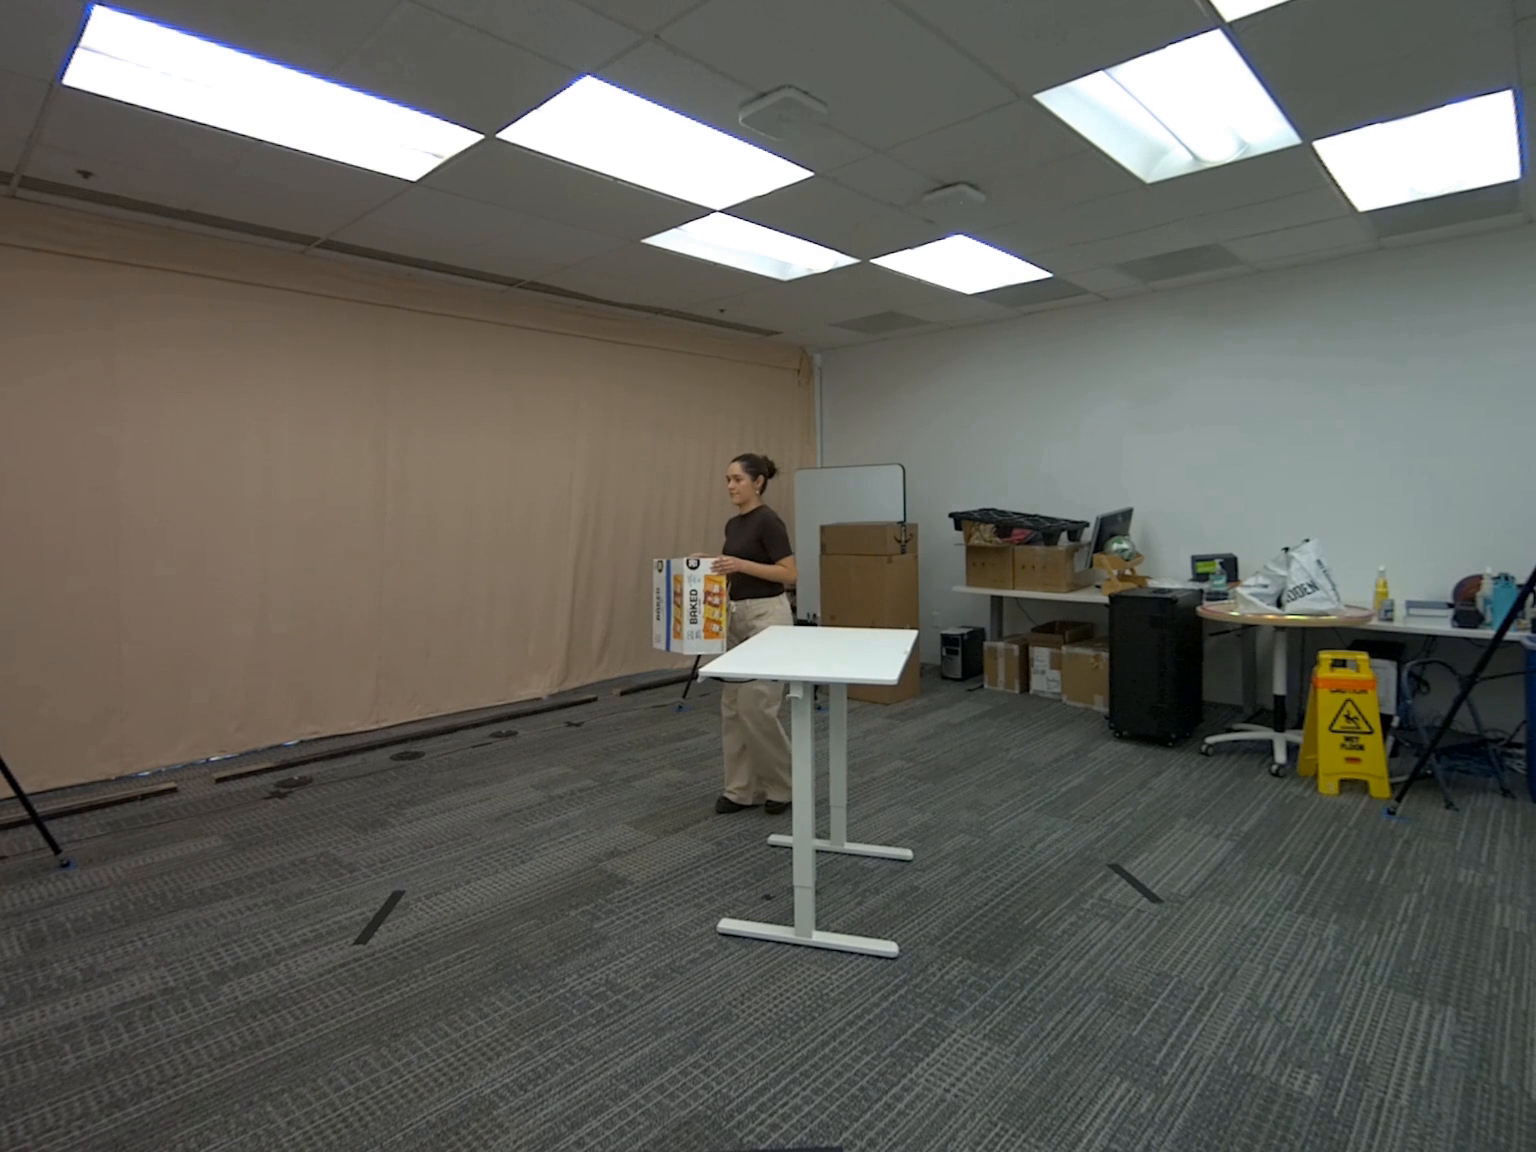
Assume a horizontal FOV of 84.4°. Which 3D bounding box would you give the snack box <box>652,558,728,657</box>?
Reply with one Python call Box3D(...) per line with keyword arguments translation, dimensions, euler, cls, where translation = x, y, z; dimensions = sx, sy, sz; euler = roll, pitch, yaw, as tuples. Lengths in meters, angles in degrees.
Box3D(translation=(-0.347, 0.132, 3.719), dimensions=(0.200, 0.406, 0.349), euler=(1, -3, -29), cls="snack box")
